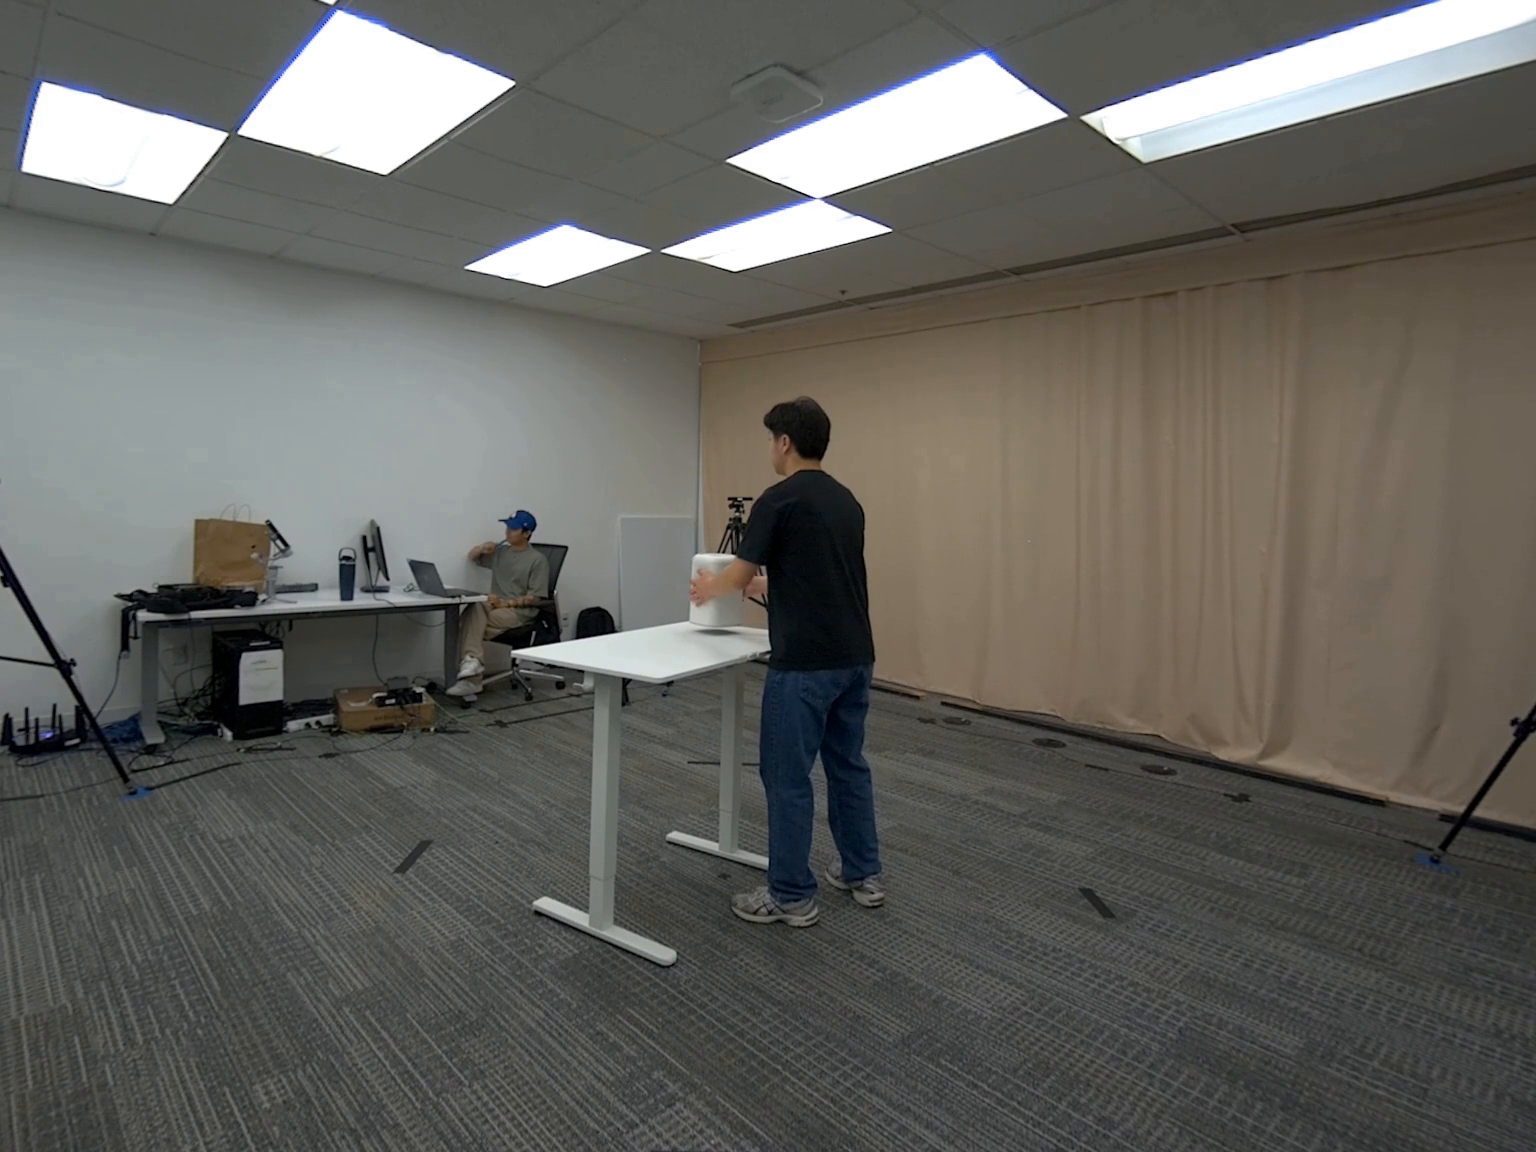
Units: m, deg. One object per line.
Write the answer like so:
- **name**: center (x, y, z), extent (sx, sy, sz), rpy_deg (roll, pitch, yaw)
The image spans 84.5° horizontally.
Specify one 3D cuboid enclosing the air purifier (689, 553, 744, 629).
- **air purifier**: center (-0.195, 0.052, 3.202), extent (0.167, 0.265, 0.176), rpy_deg (-1, 5, -42)
